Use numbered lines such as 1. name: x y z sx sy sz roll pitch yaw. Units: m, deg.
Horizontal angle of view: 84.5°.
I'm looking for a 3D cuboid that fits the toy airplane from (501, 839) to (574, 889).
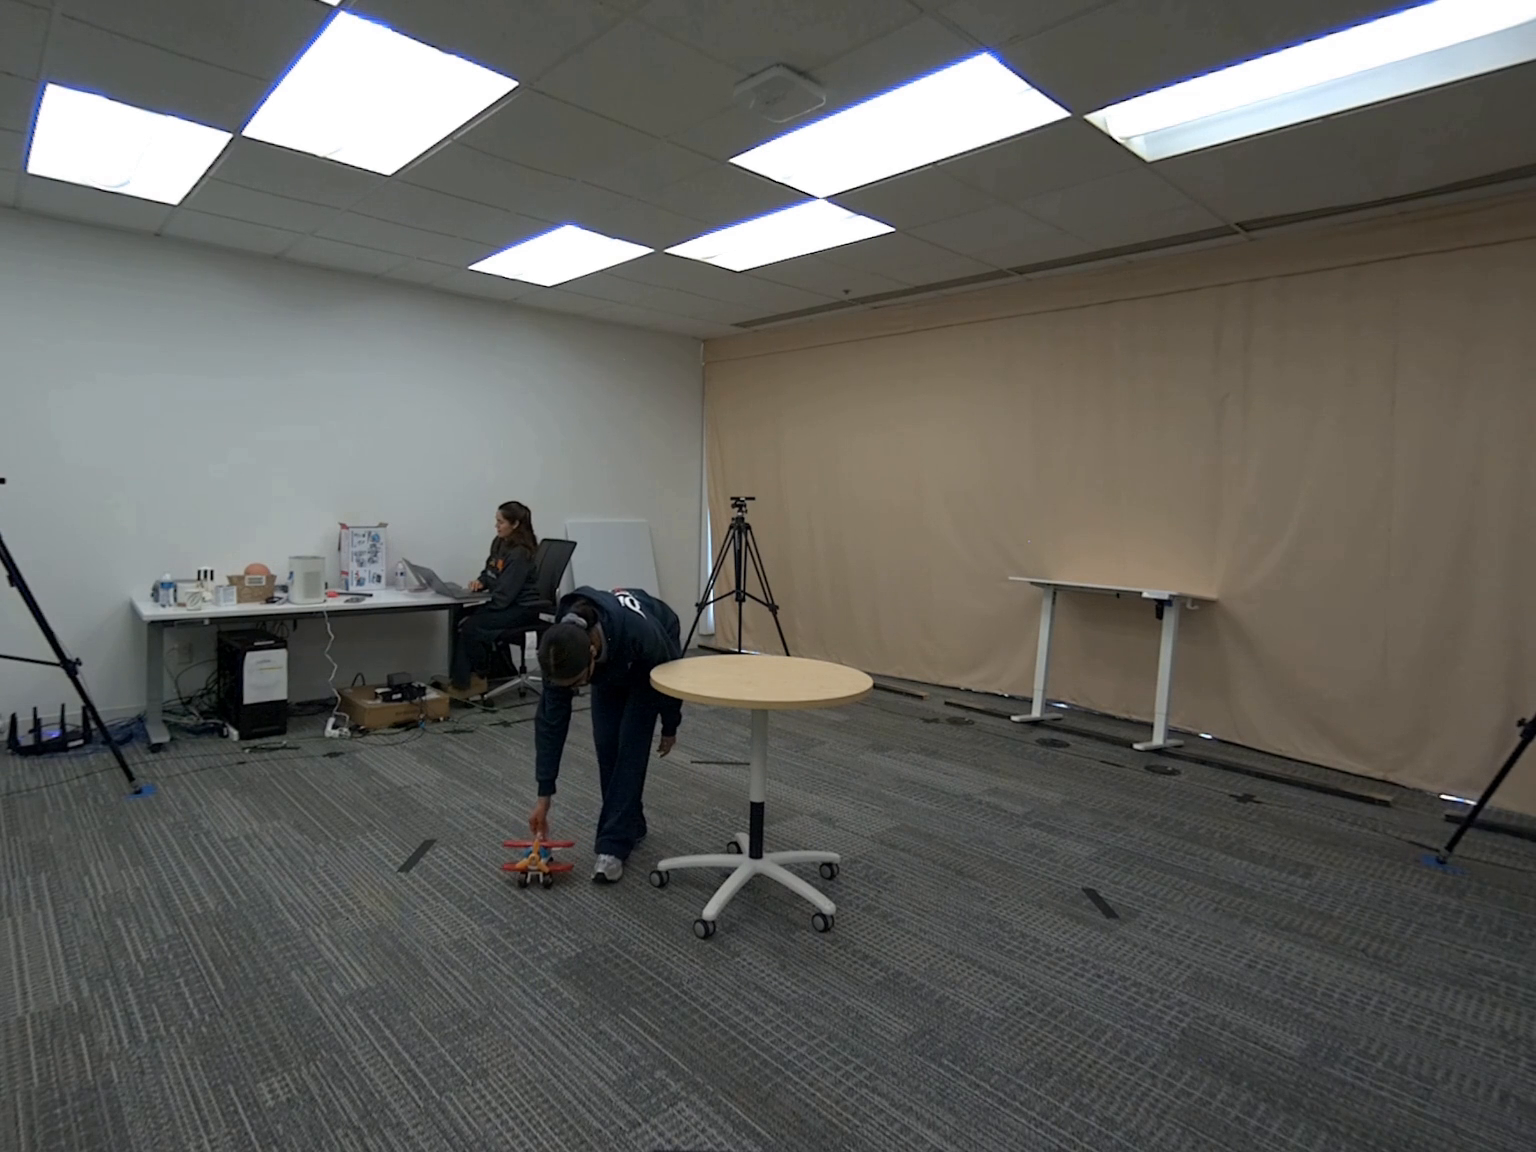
1. toy airplane: -0.850 1.023 3.052 0.246 0.156 0.265 -2 5 -32
